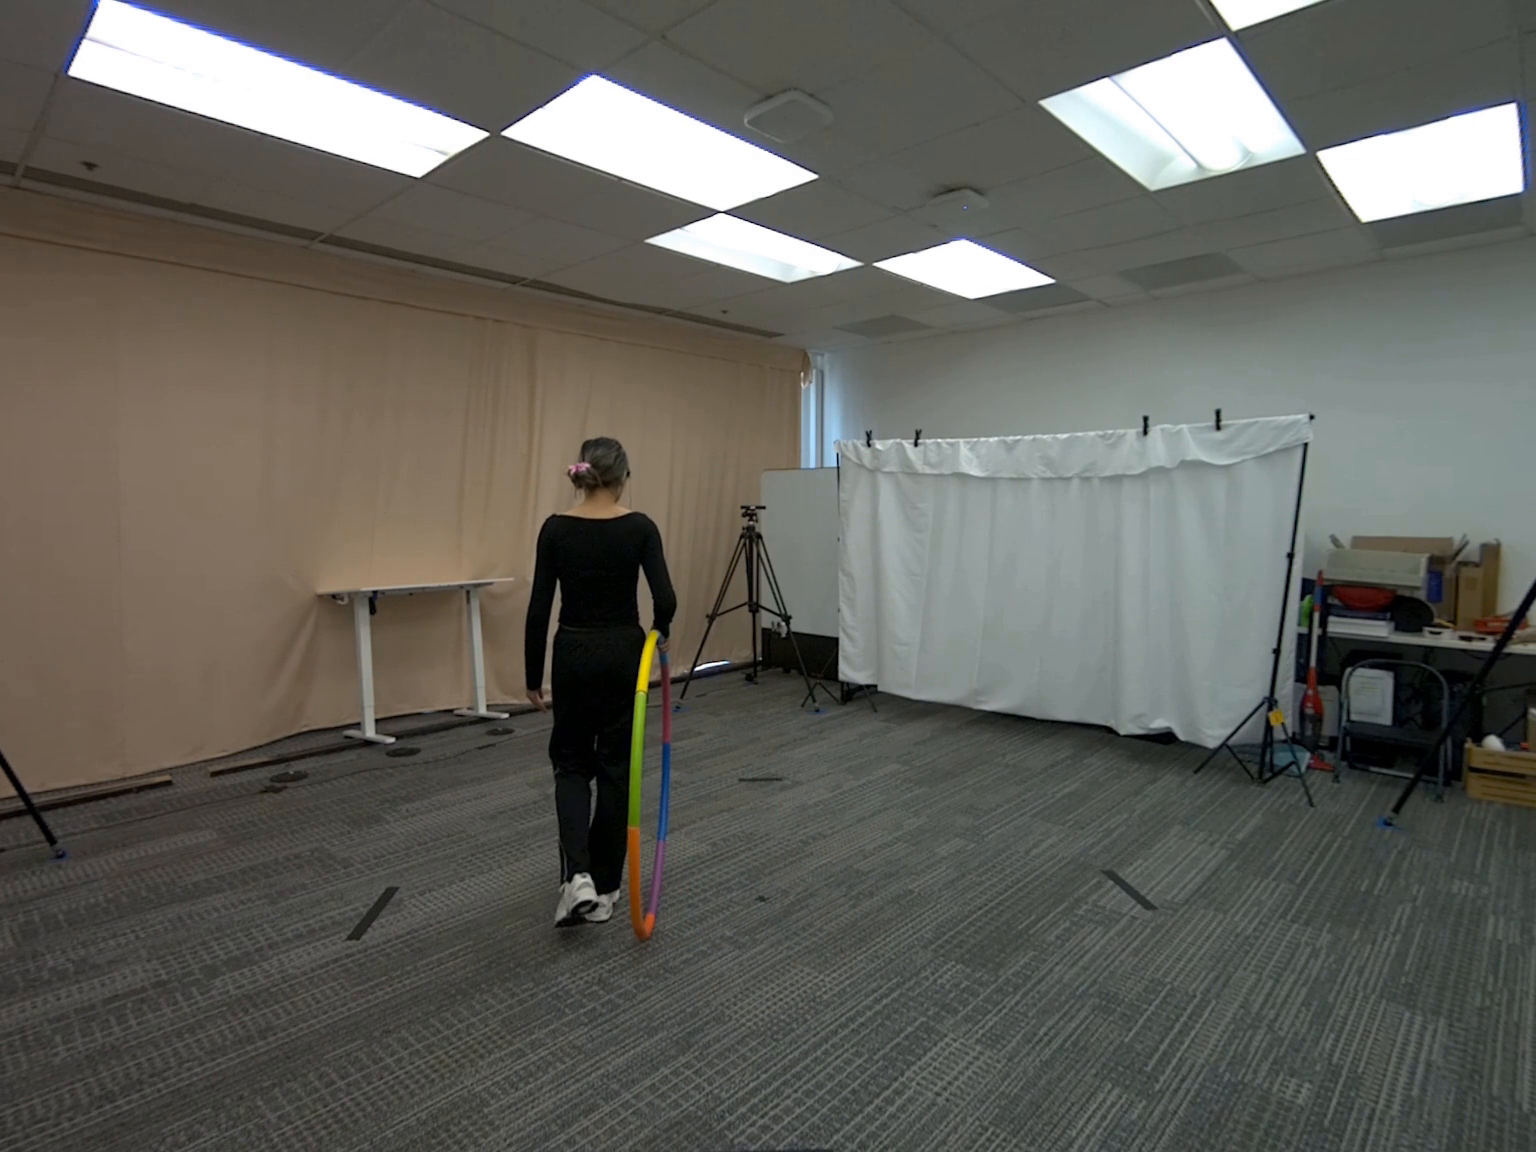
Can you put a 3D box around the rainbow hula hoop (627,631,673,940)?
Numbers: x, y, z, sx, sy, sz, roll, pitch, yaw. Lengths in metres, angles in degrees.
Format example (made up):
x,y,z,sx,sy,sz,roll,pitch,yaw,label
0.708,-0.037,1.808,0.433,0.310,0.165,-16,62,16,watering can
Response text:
x,y,z,sx,sy,sz,roll,pitch,yaw,label
-0.388,0.675,2.807,0.035,0.976,0.979,3,4,-1,rainbow hula hoop
